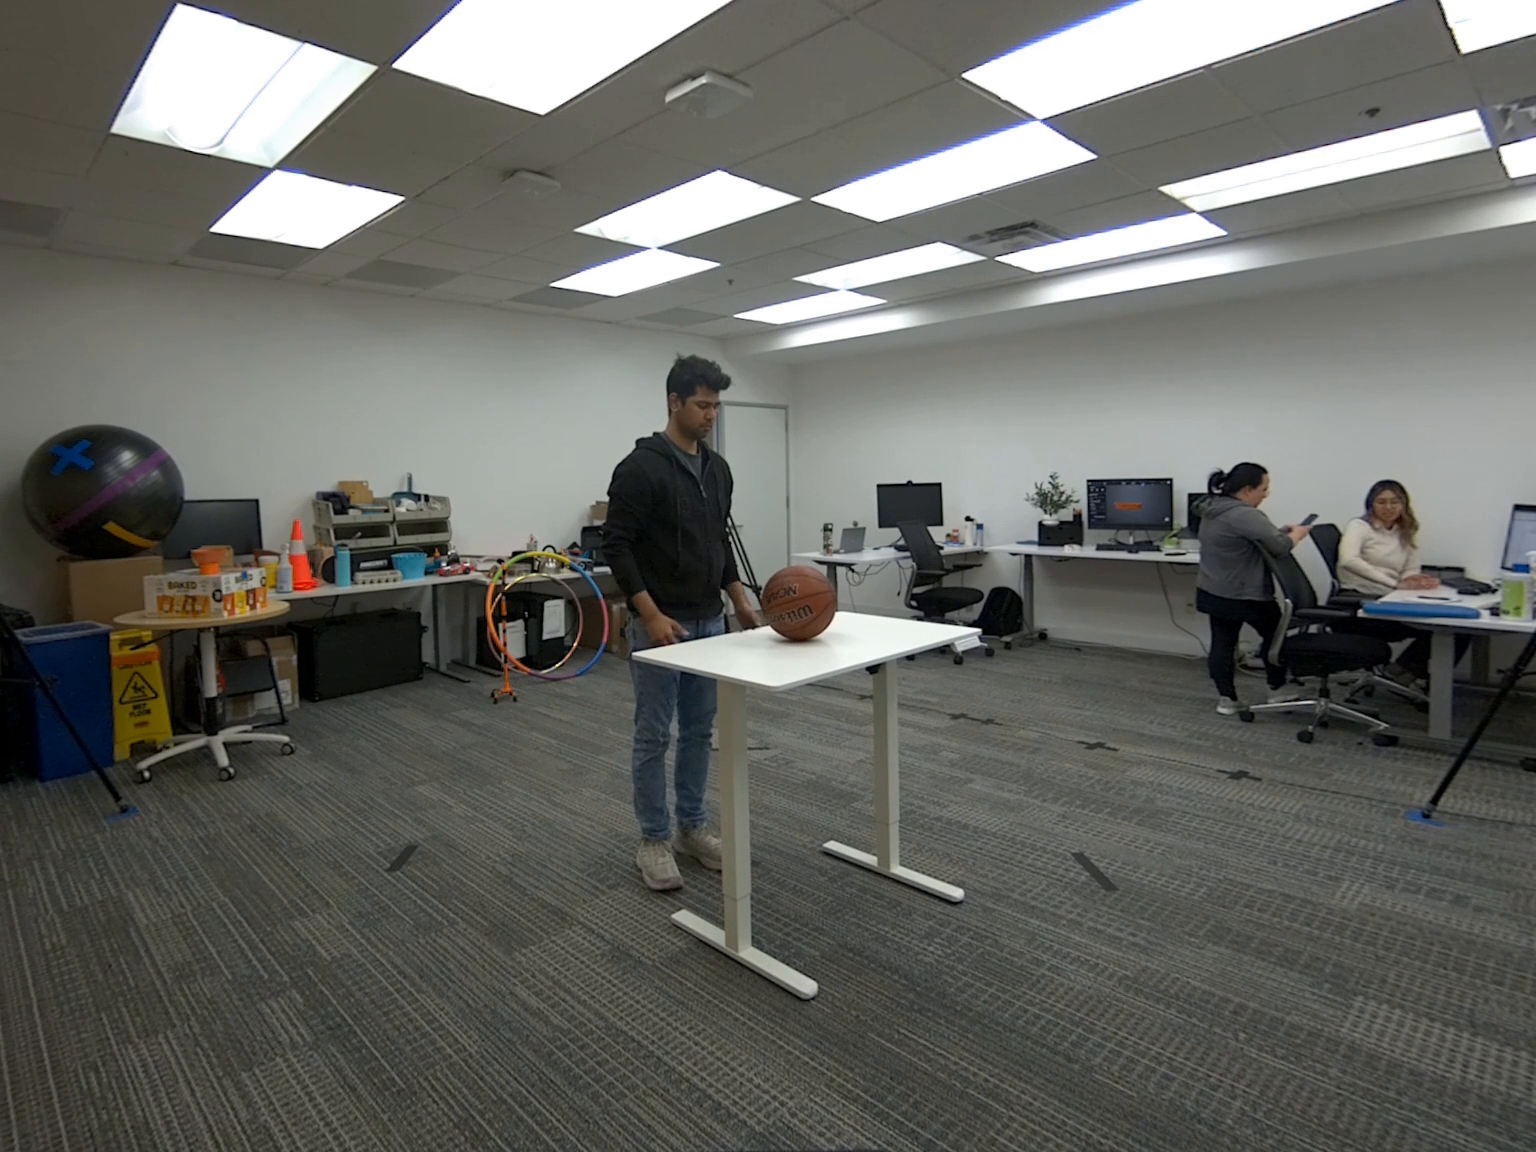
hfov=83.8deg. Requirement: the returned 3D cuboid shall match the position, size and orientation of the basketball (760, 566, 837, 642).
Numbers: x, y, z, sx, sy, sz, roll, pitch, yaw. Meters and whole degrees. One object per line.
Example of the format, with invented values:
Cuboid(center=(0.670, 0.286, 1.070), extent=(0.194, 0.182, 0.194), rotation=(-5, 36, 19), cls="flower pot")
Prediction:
Cuboid(center=(0.103, 0.086, 2.715), extent=(0.236, 0.235, 0.237), rotation=(-1, 5, -2), cls="basketball")
